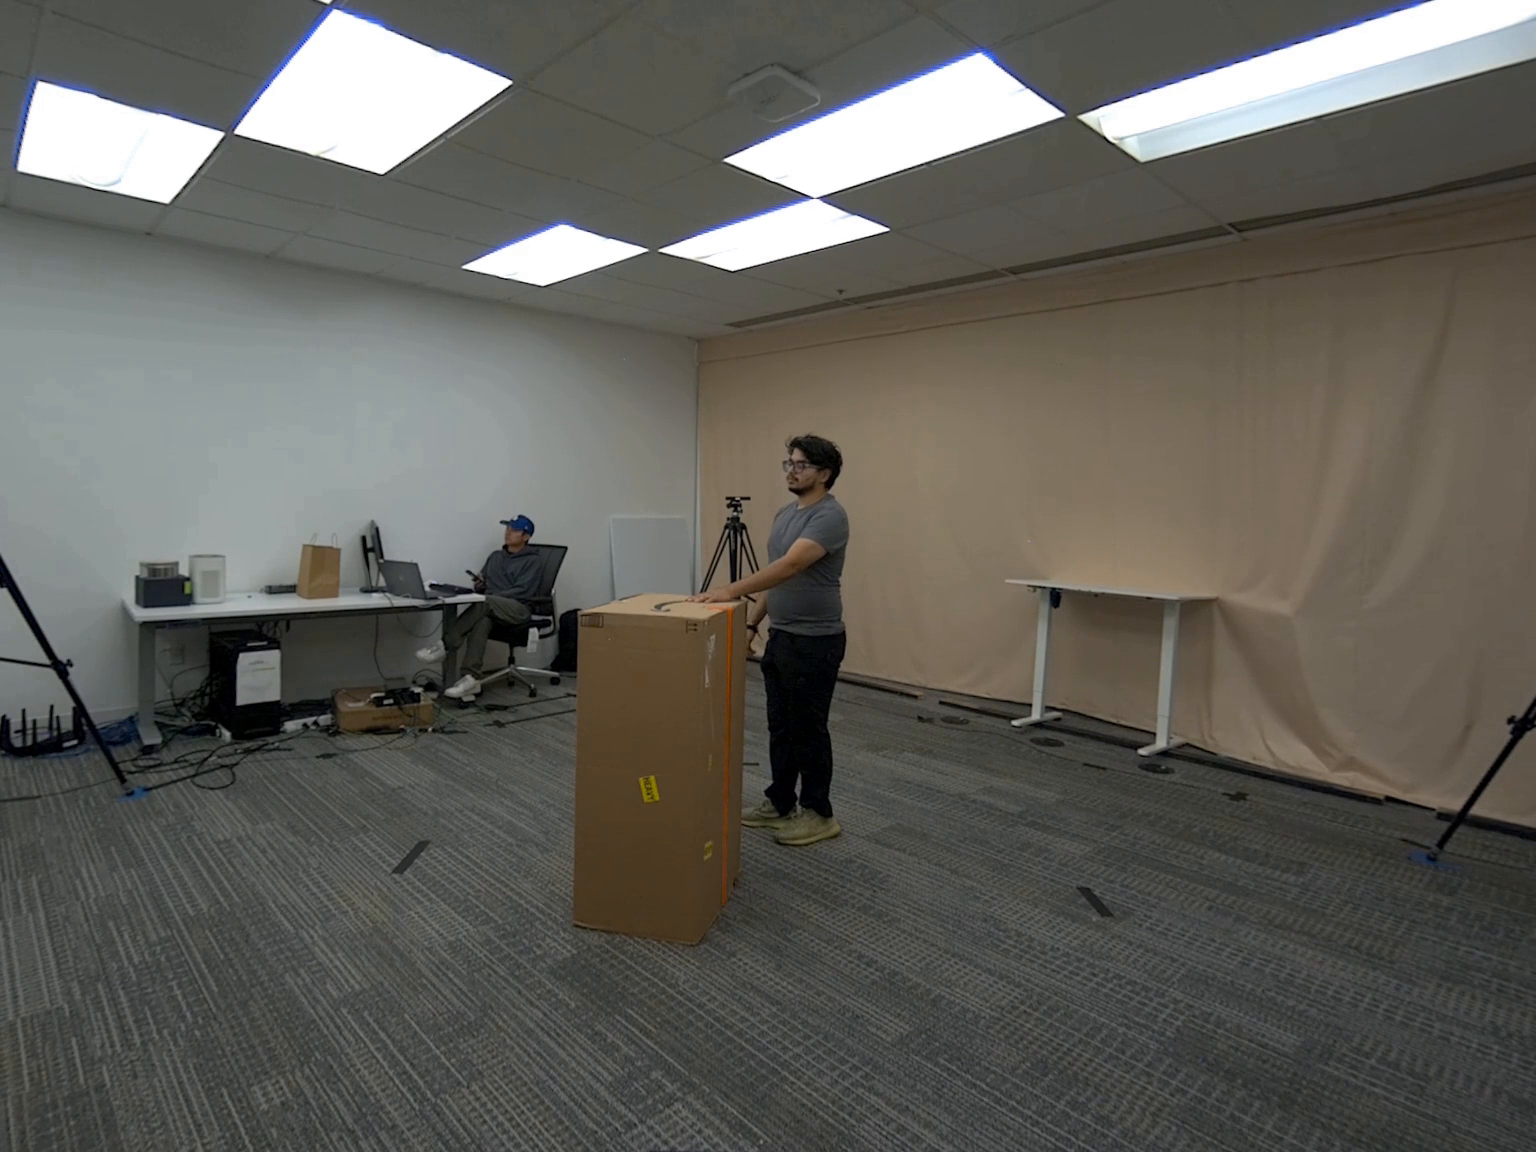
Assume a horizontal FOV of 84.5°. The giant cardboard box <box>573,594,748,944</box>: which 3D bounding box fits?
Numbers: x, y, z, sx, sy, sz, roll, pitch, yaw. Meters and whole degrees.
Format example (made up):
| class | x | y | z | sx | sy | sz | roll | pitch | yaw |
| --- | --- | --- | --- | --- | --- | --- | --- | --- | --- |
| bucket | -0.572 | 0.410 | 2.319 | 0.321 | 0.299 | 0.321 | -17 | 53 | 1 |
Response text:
| class | x | y | z | sx | sy | sz | roll | pitch | yaw |
| --- | --- | --- | --- | --- | --- | --- | --- | --- | --- |
| giant cardboard box | -0.353 | 0.609 | 2.910 | 0.431 | 1.024 | 0.572 | 2 | 3 | 13 |
